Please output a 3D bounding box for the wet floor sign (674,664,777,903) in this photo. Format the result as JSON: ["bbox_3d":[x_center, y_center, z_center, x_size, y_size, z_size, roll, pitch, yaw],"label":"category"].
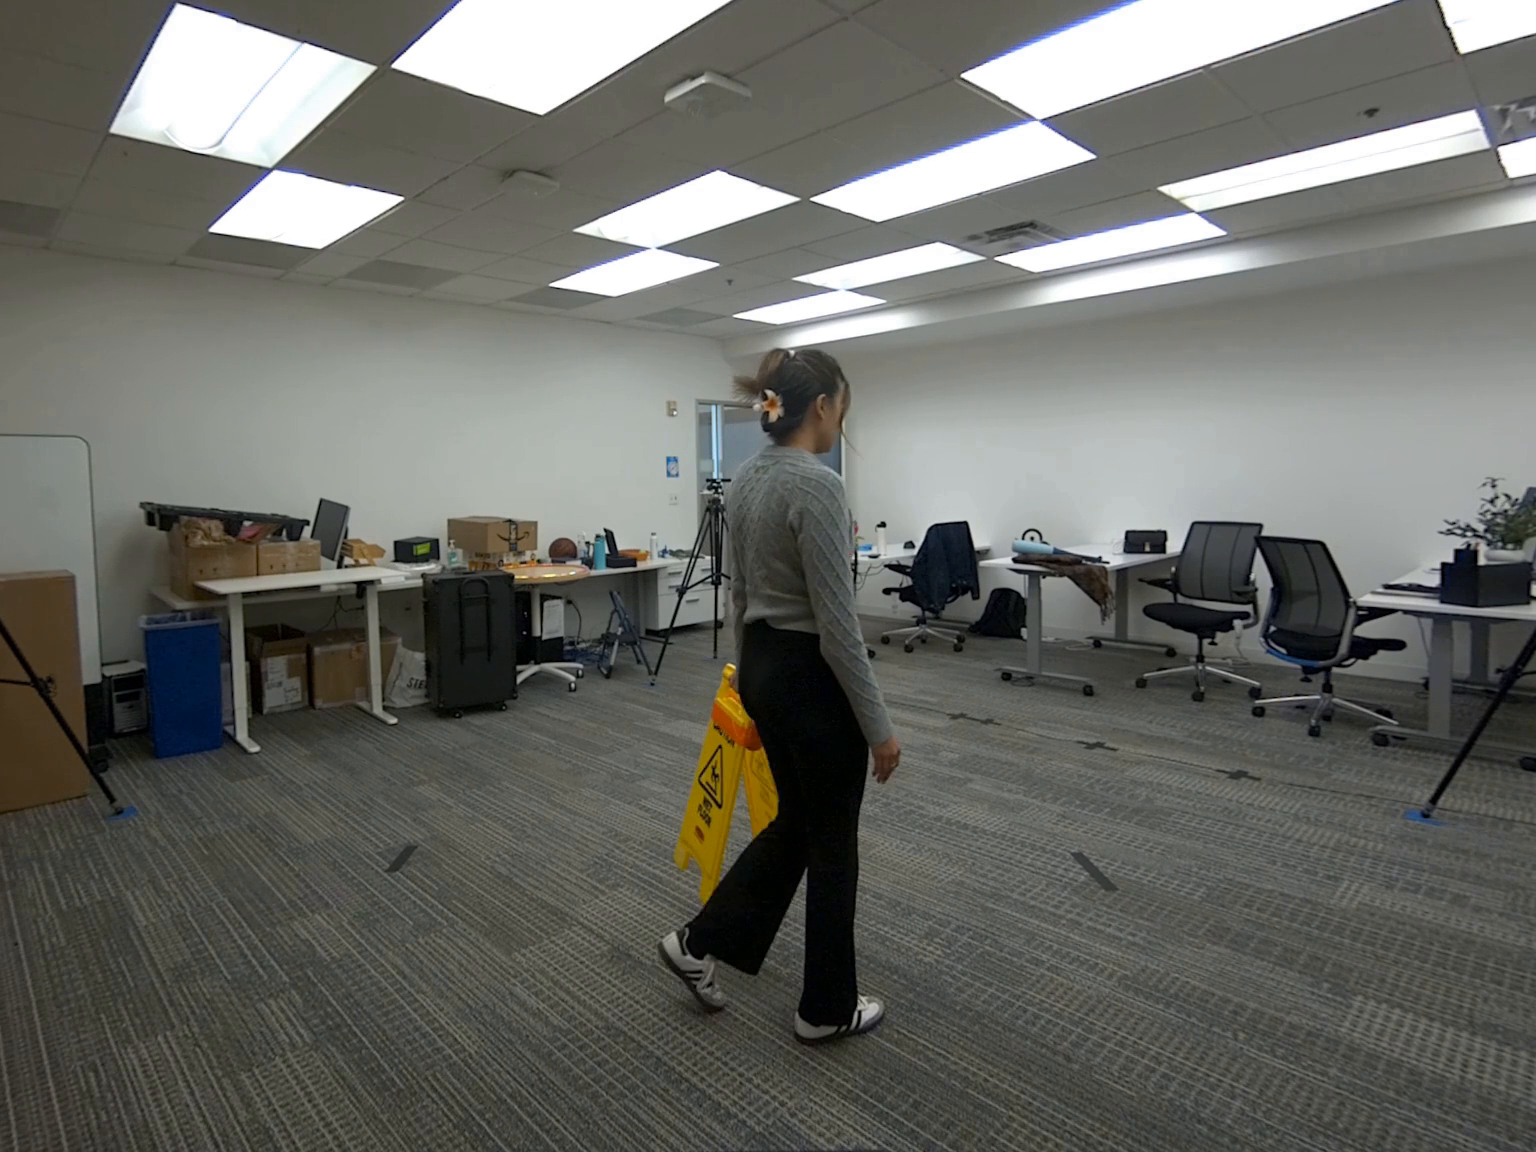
[{"bbox_3d":[-0.083,0.597,2.546,0.284,0.639,0.291,-4,13,-26],"label":"wet floor sign"}]
